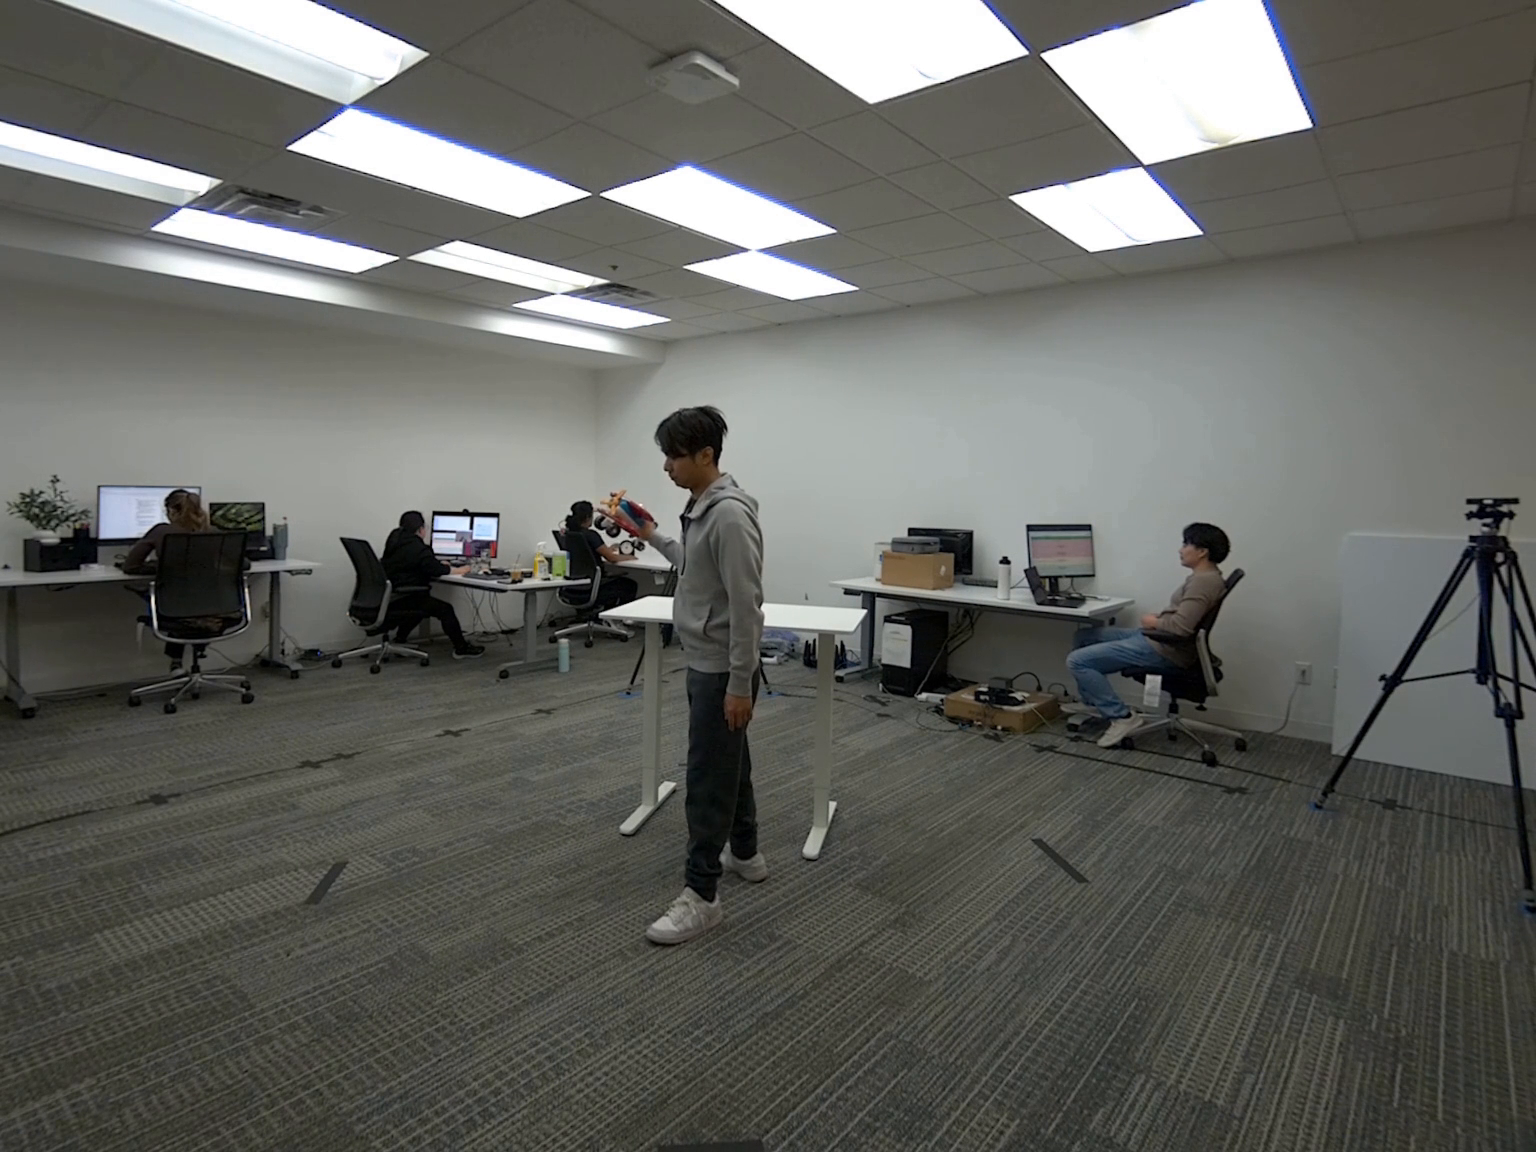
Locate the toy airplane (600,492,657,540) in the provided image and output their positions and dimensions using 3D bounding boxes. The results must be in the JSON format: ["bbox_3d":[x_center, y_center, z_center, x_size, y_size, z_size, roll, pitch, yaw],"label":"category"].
[{"bbox_3d":[-0.553,-0.210,3.243,0.257,0.156,0.253,28,-1,15],"label":"toy airplane"}]
